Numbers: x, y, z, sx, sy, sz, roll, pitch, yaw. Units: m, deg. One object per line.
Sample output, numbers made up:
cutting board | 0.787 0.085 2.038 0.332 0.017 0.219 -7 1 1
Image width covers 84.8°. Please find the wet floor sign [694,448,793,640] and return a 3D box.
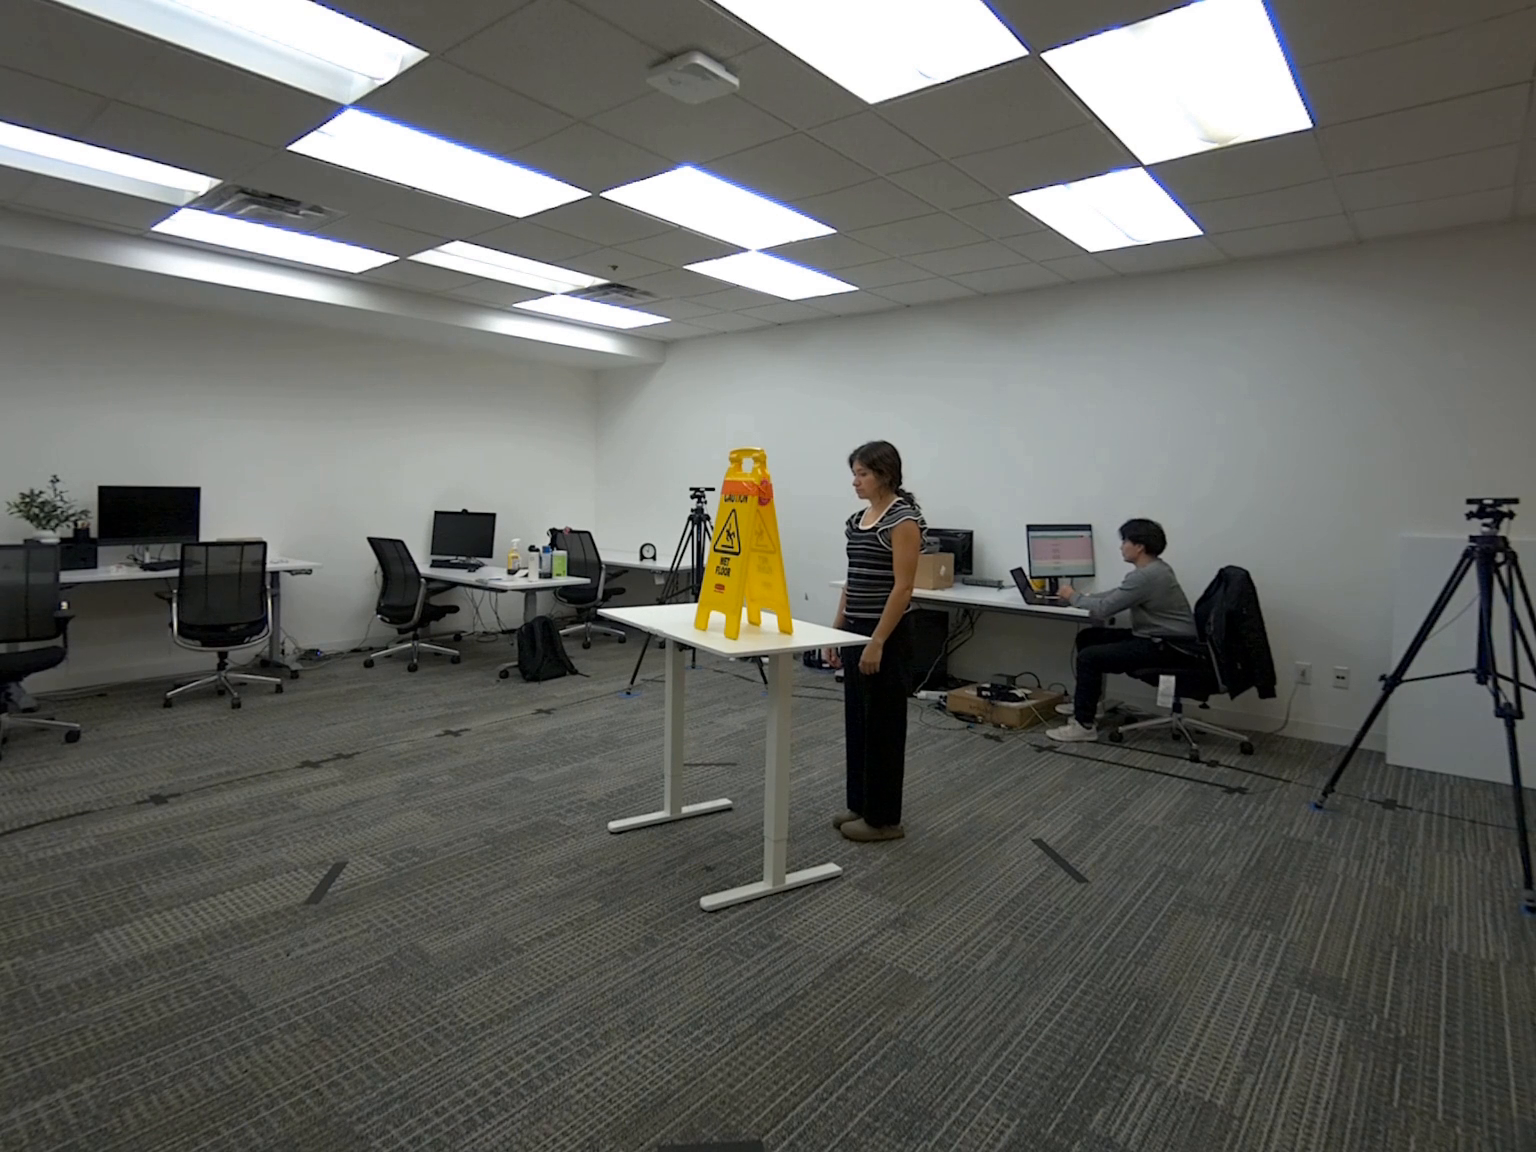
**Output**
wet floor sign | -0.093 -0.129 3.018 0.281 0.644 0.291 -1 3 -34
